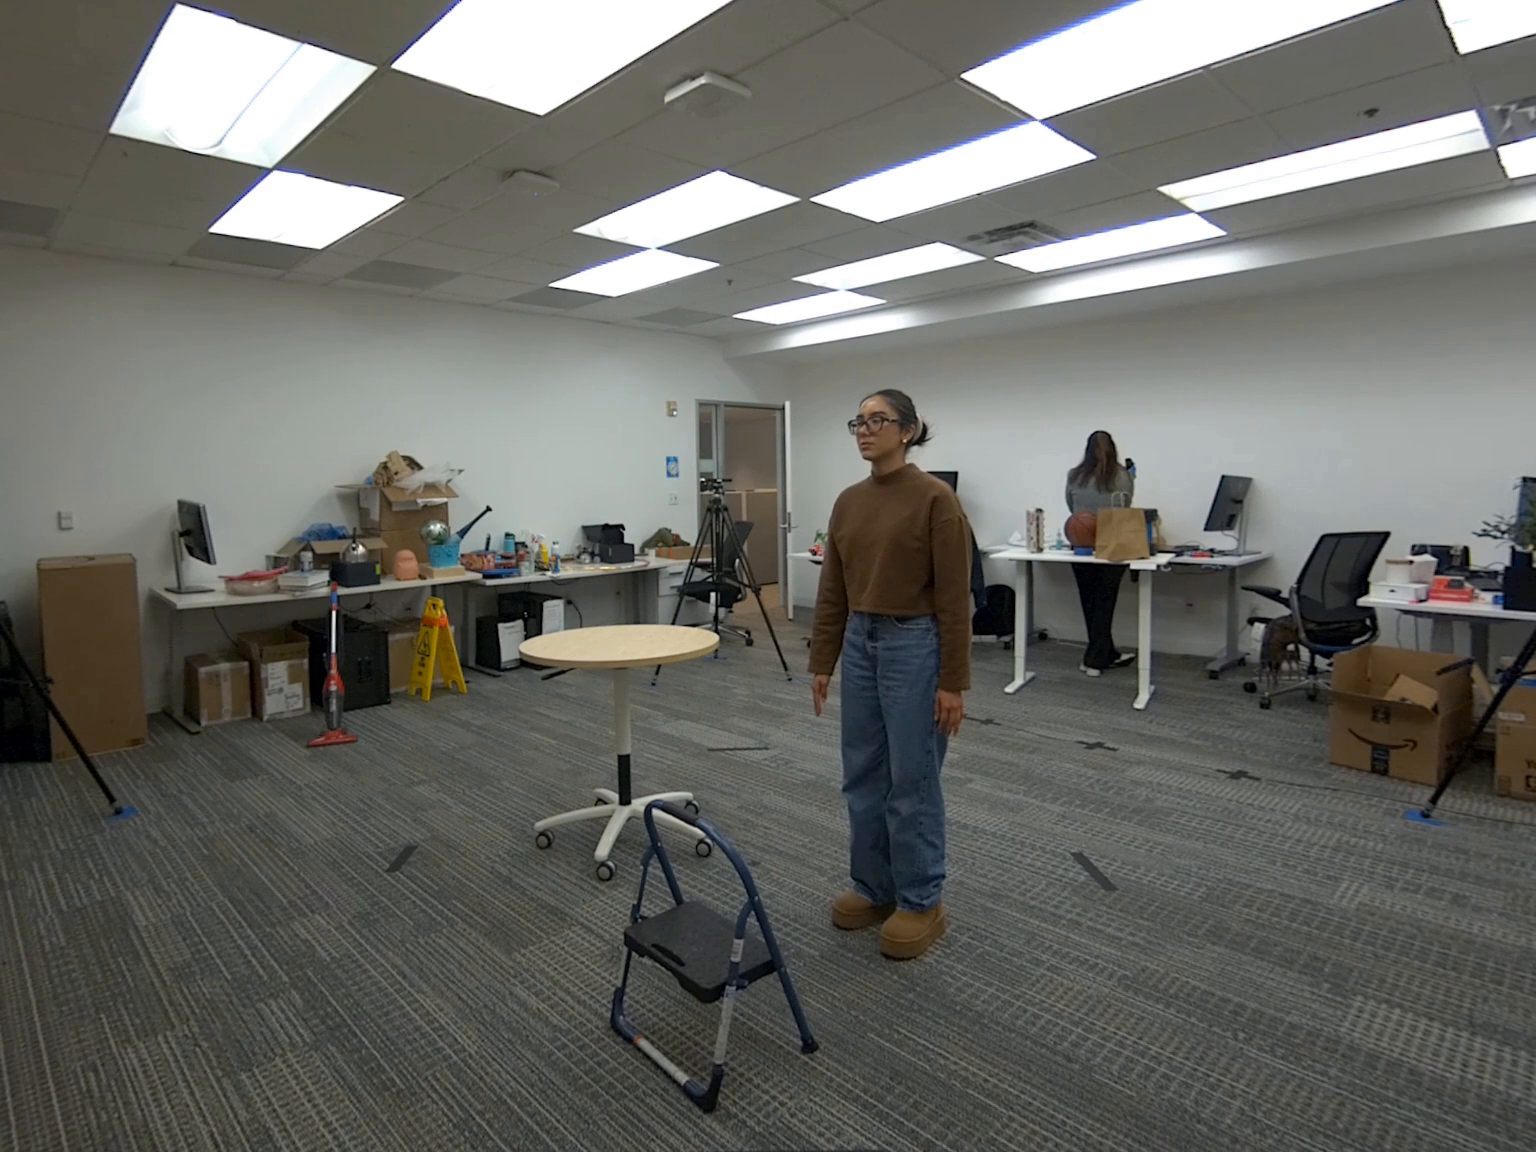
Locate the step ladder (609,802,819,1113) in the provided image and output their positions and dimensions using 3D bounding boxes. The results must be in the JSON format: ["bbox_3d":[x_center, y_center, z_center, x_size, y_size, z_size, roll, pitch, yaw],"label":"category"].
[{"bbox_3d":[-0.147,0.865,2.127,0.340,0.603,0.444,-5,6,-42],"label":"step ladder"}]
